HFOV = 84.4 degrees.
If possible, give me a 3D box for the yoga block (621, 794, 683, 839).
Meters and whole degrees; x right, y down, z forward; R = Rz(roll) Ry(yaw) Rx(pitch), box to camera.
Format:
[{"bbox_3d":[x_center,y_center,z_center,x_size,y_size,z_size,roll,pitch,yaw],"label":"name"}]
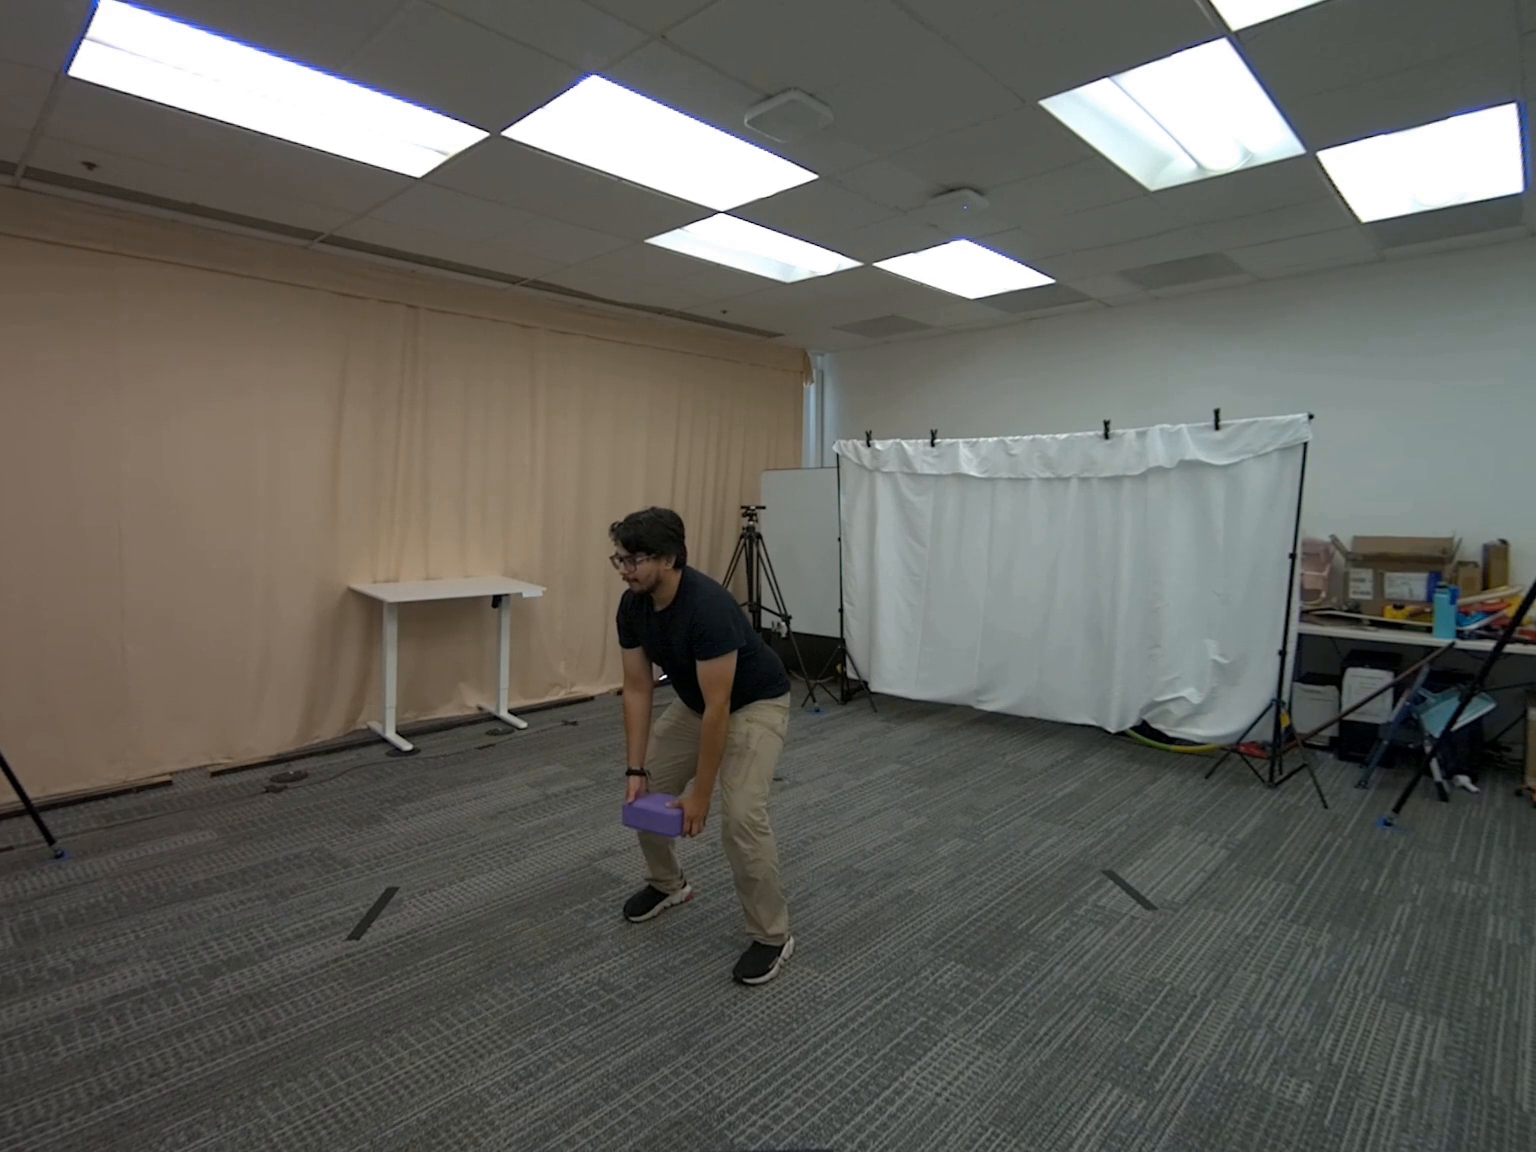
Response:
[{"bbox_3d":[-0.319,0.729,2.593,0.236,0.076,0.144,-1,1,36],"label":"yoga block"}]
